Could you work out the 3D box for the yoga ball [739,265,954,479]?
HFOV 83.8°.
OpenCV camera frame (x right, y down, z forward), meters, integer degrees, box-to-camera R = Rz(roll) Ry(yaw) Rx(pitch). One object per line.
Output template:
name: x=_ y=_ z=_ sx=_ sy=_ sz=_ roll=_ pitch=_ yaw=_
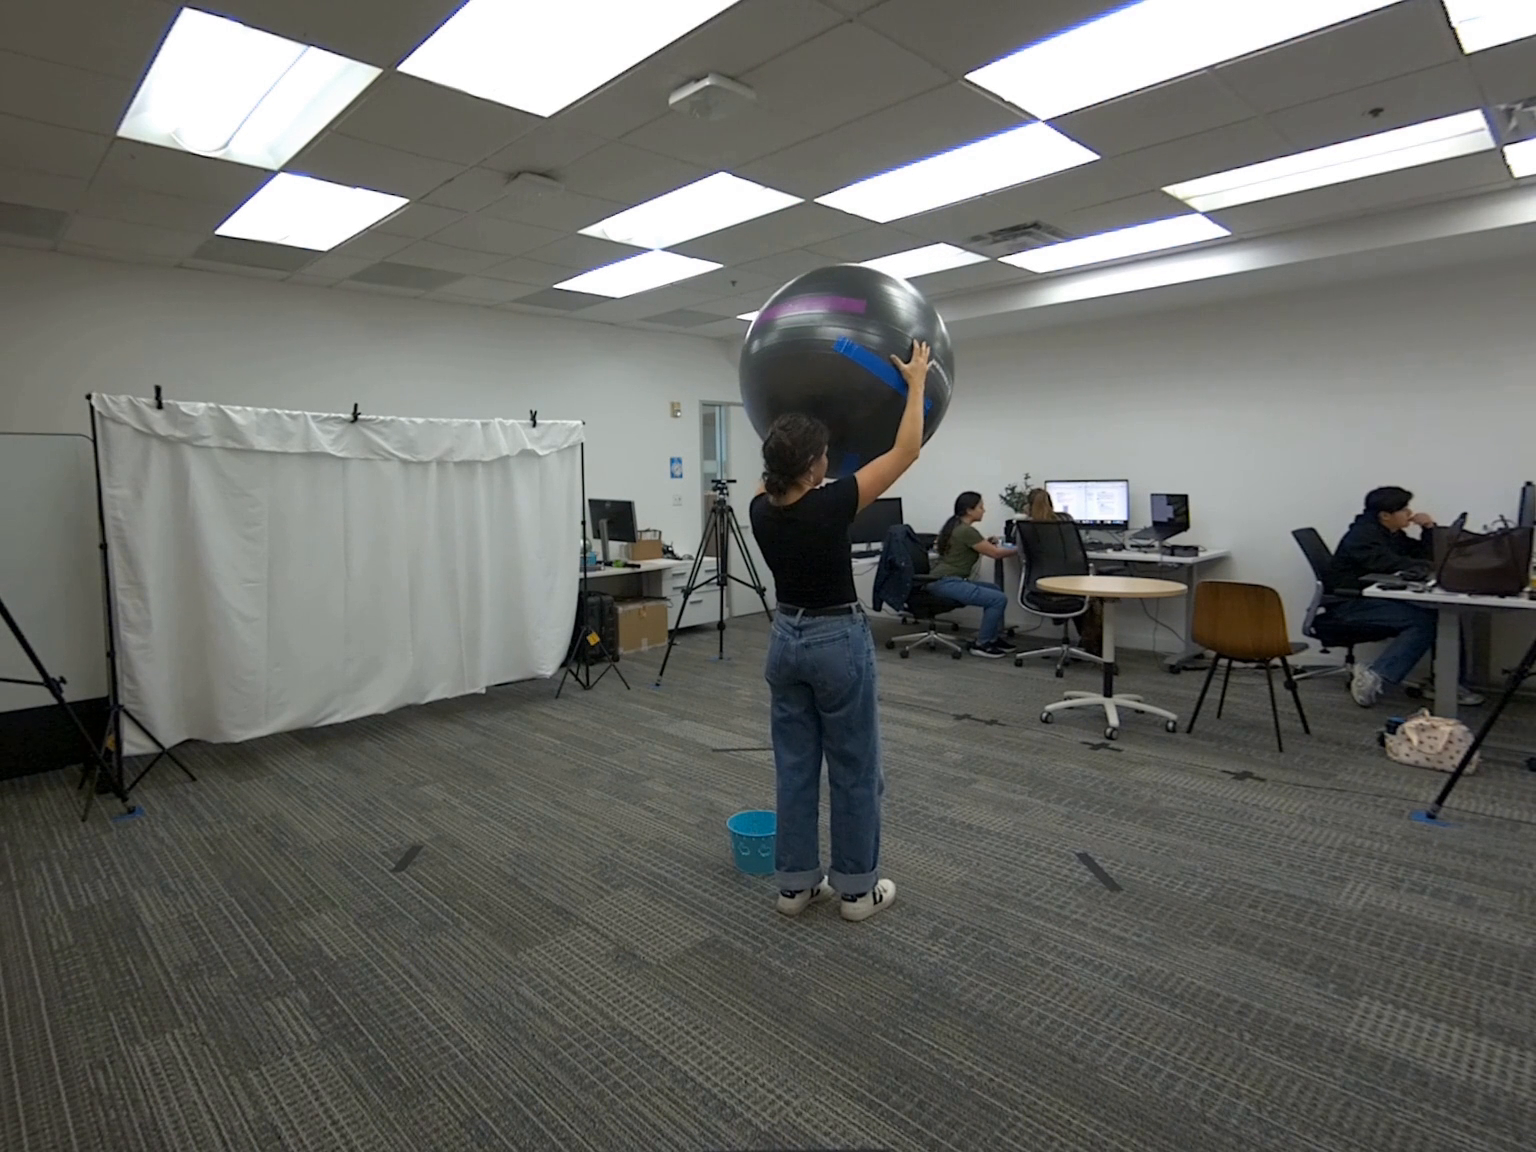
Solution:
yoga ball: x=0.279 y=-0.726 z=3.063 sx=0.757 sy=0.755 sz=0.762 roll=-1 pitch=5 yaw=-2
